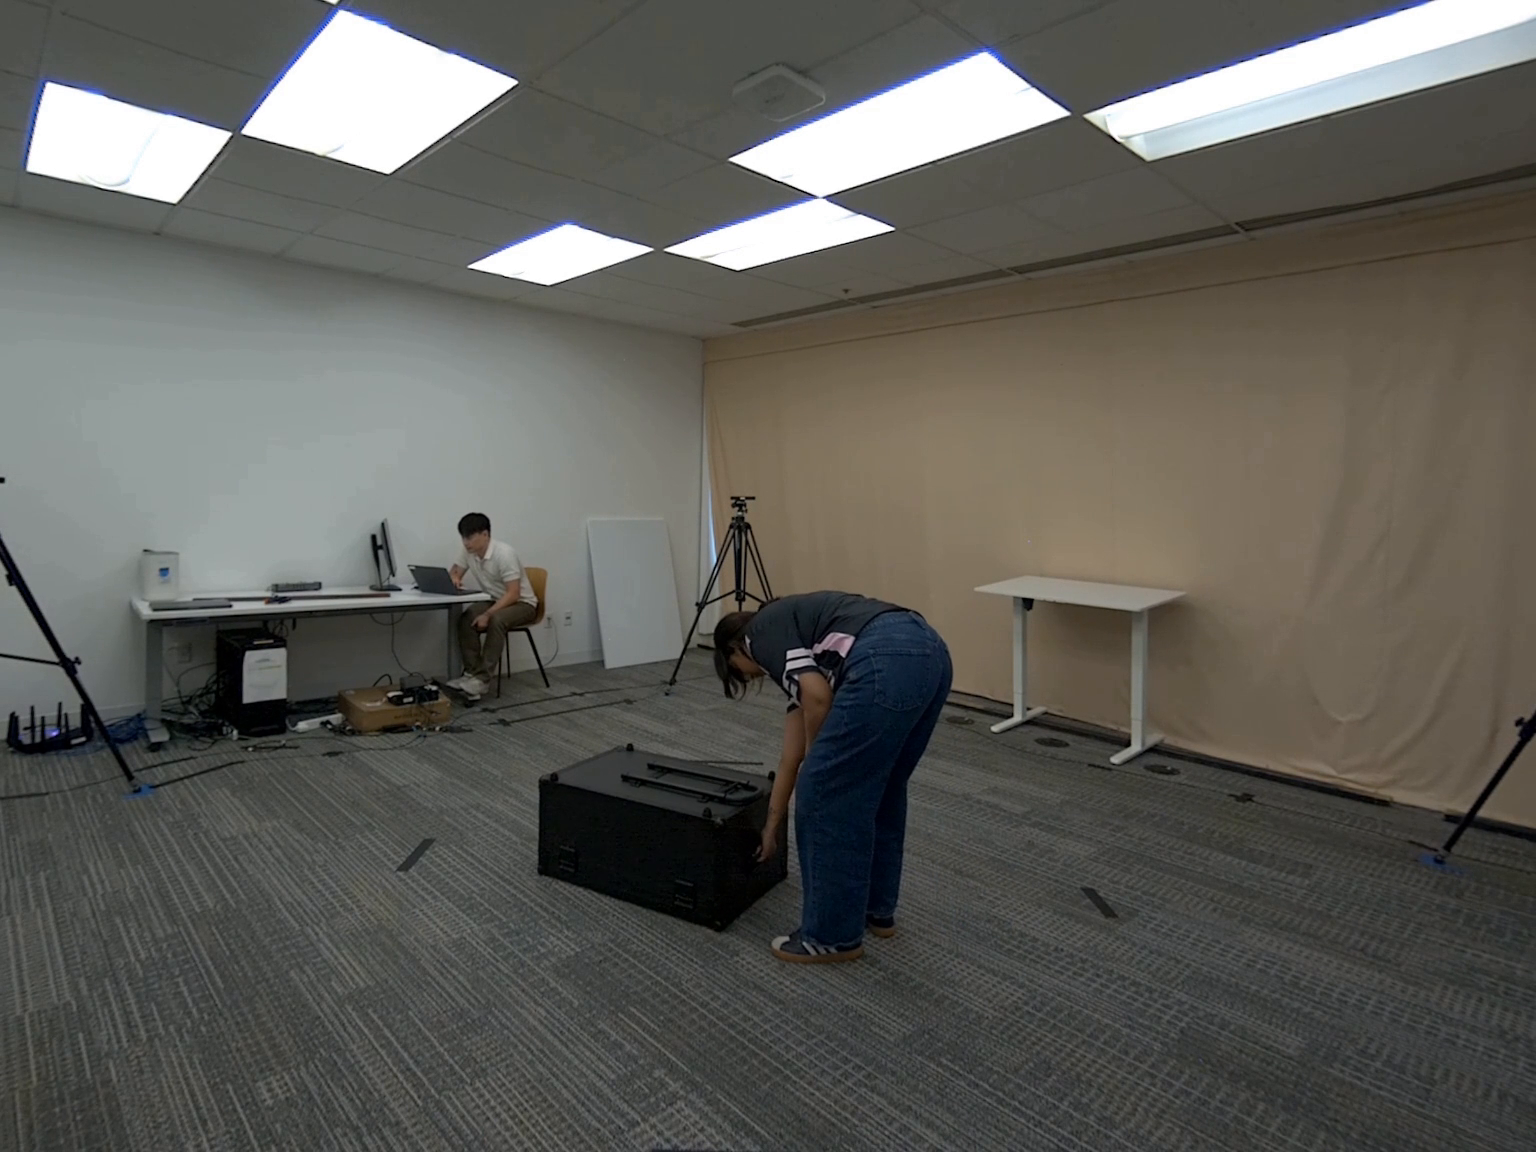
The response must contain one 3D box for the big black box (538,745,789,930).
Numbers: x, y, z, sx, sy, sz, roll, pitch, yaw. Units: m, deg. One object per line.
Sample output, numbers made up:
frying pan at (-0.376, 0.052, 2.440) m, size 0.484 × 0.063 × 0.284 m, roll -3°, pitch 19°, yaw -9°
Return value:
big black box at (-0.420, 0.899, 3.097) m, size 0.880 × 0.395 × 0.512 m, roll 3°, pitch 5°, yaw 29°
